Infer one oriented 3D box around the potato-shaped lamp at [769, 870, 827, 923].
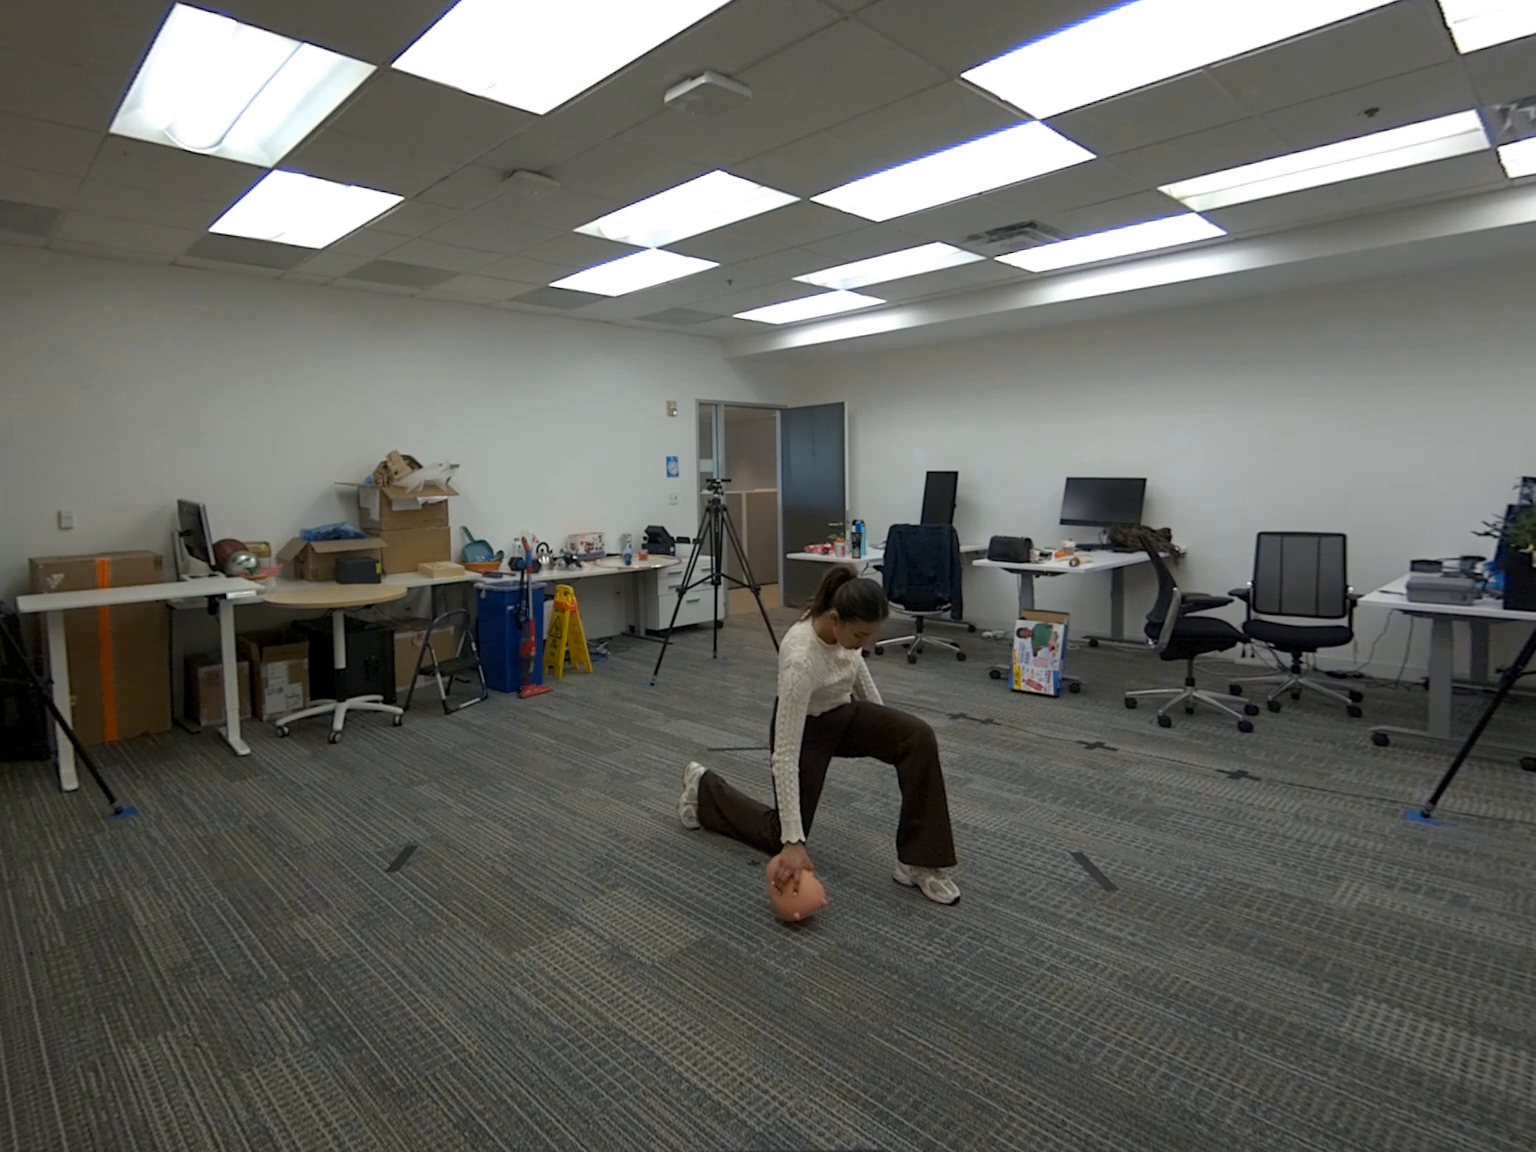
[{"bbox_3d":[0.086,0.984,2.716,0.162,0.202,0.170,-14,-19,-23],"label":"potato-shaped lamp"}]
